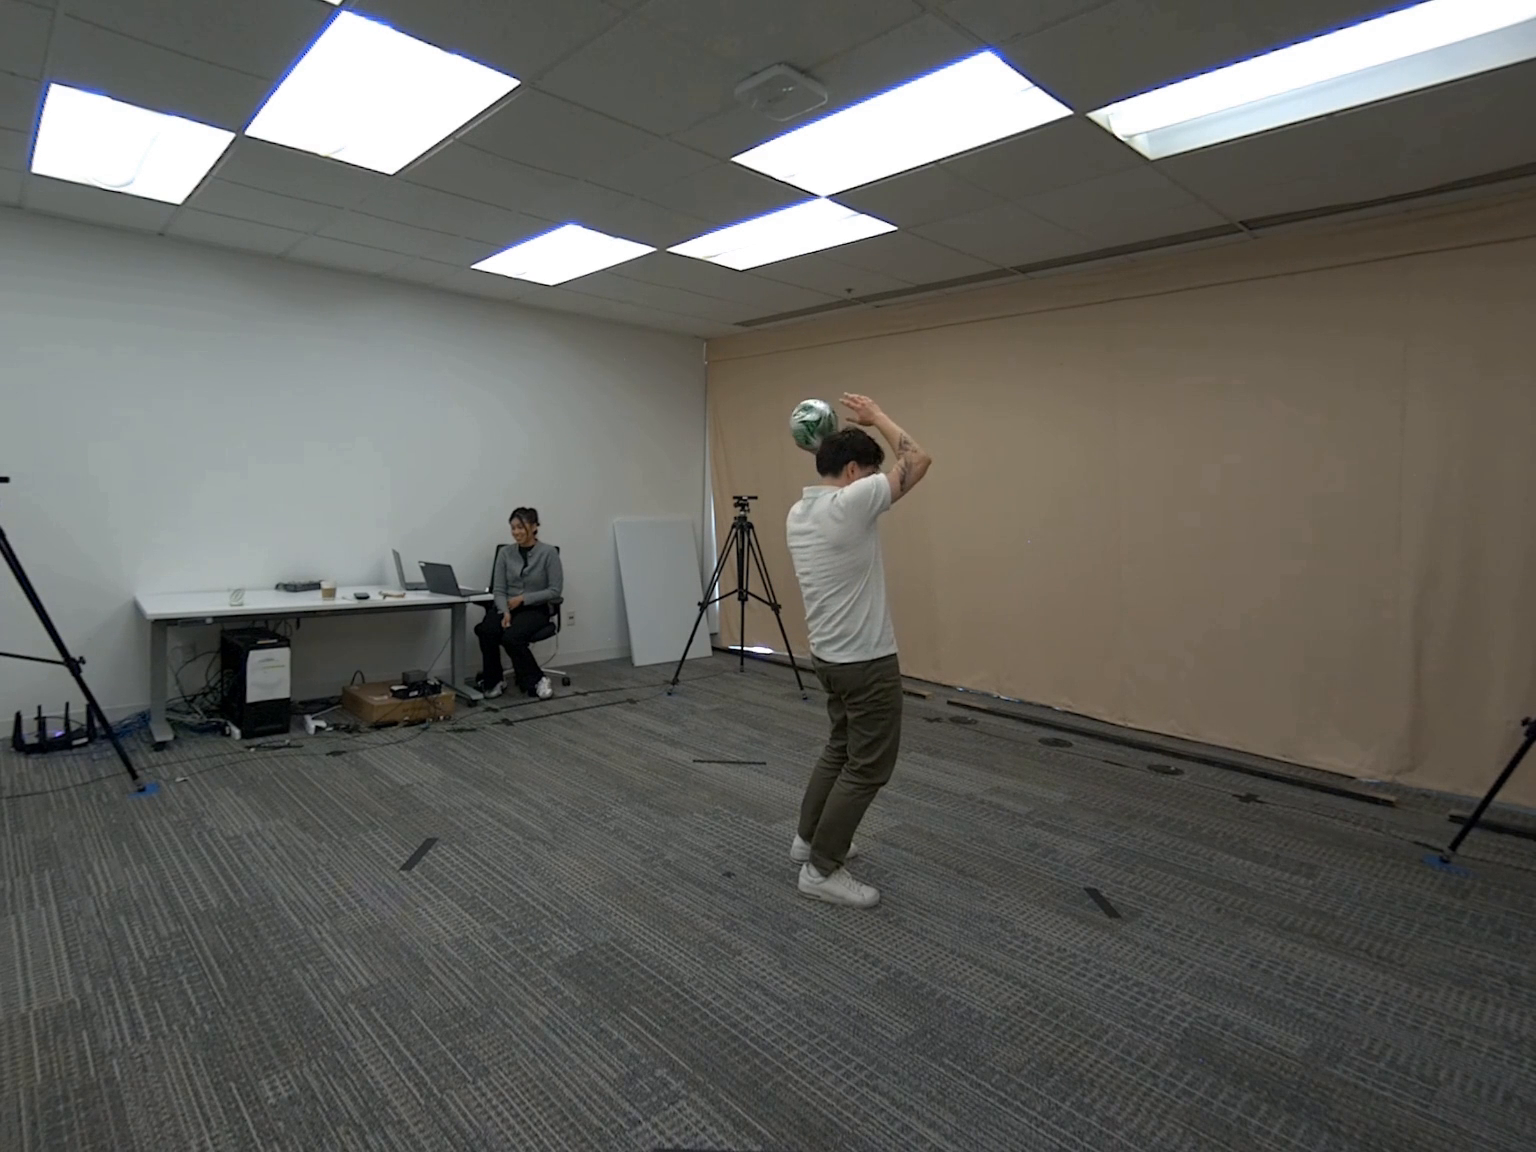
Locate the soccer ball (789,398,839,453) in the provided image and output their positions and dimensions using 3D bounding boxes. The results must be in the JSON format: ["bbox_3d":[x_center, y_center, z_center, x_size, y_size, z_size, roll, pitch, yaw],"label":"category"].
[{"bbox_3d":[0.166,-0.567,3.179,0.187,0.187,0.188,1,4,-1],"label":"soccer ball"}]
